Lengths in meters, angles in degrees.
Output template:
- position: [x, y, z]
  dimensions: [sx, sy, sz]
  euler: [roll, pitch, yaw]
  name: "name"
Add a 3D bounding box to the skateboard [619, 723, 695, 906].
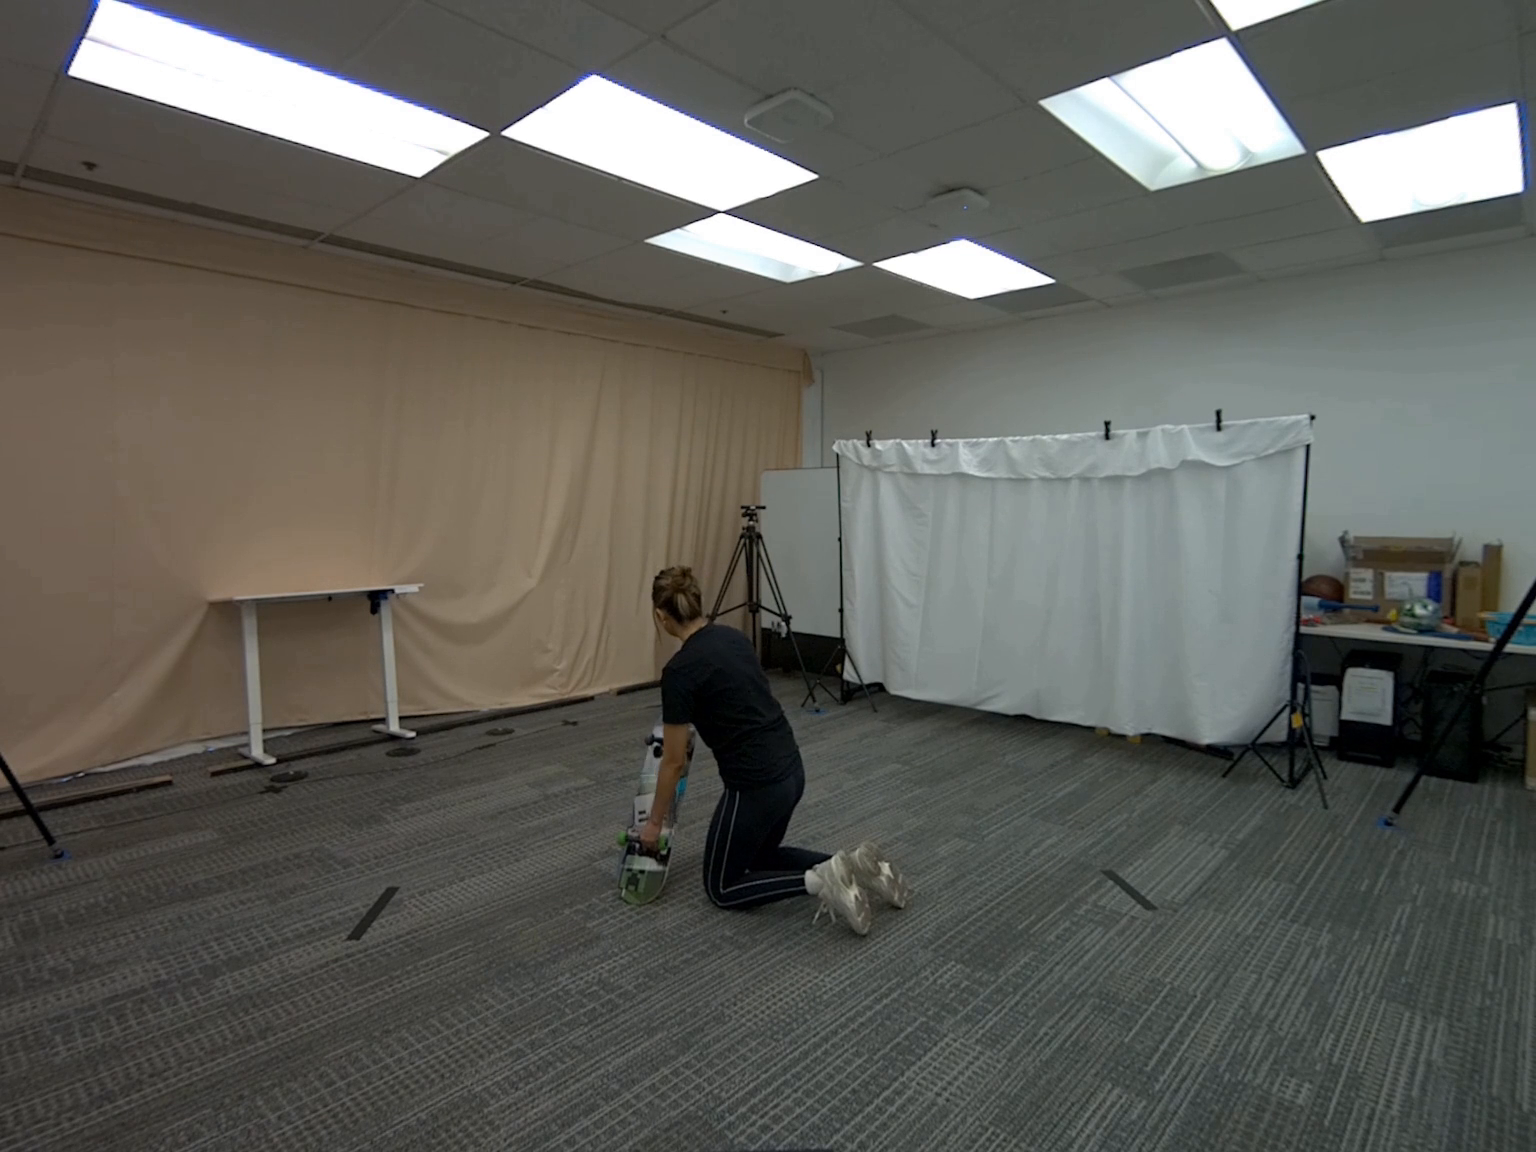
- position: [-0.409, 0.815, 3.168]
  dimensions: [0.197, 0.794, 0.107]
  euler: [-1, -40, 15]
  name: "skateboard"
